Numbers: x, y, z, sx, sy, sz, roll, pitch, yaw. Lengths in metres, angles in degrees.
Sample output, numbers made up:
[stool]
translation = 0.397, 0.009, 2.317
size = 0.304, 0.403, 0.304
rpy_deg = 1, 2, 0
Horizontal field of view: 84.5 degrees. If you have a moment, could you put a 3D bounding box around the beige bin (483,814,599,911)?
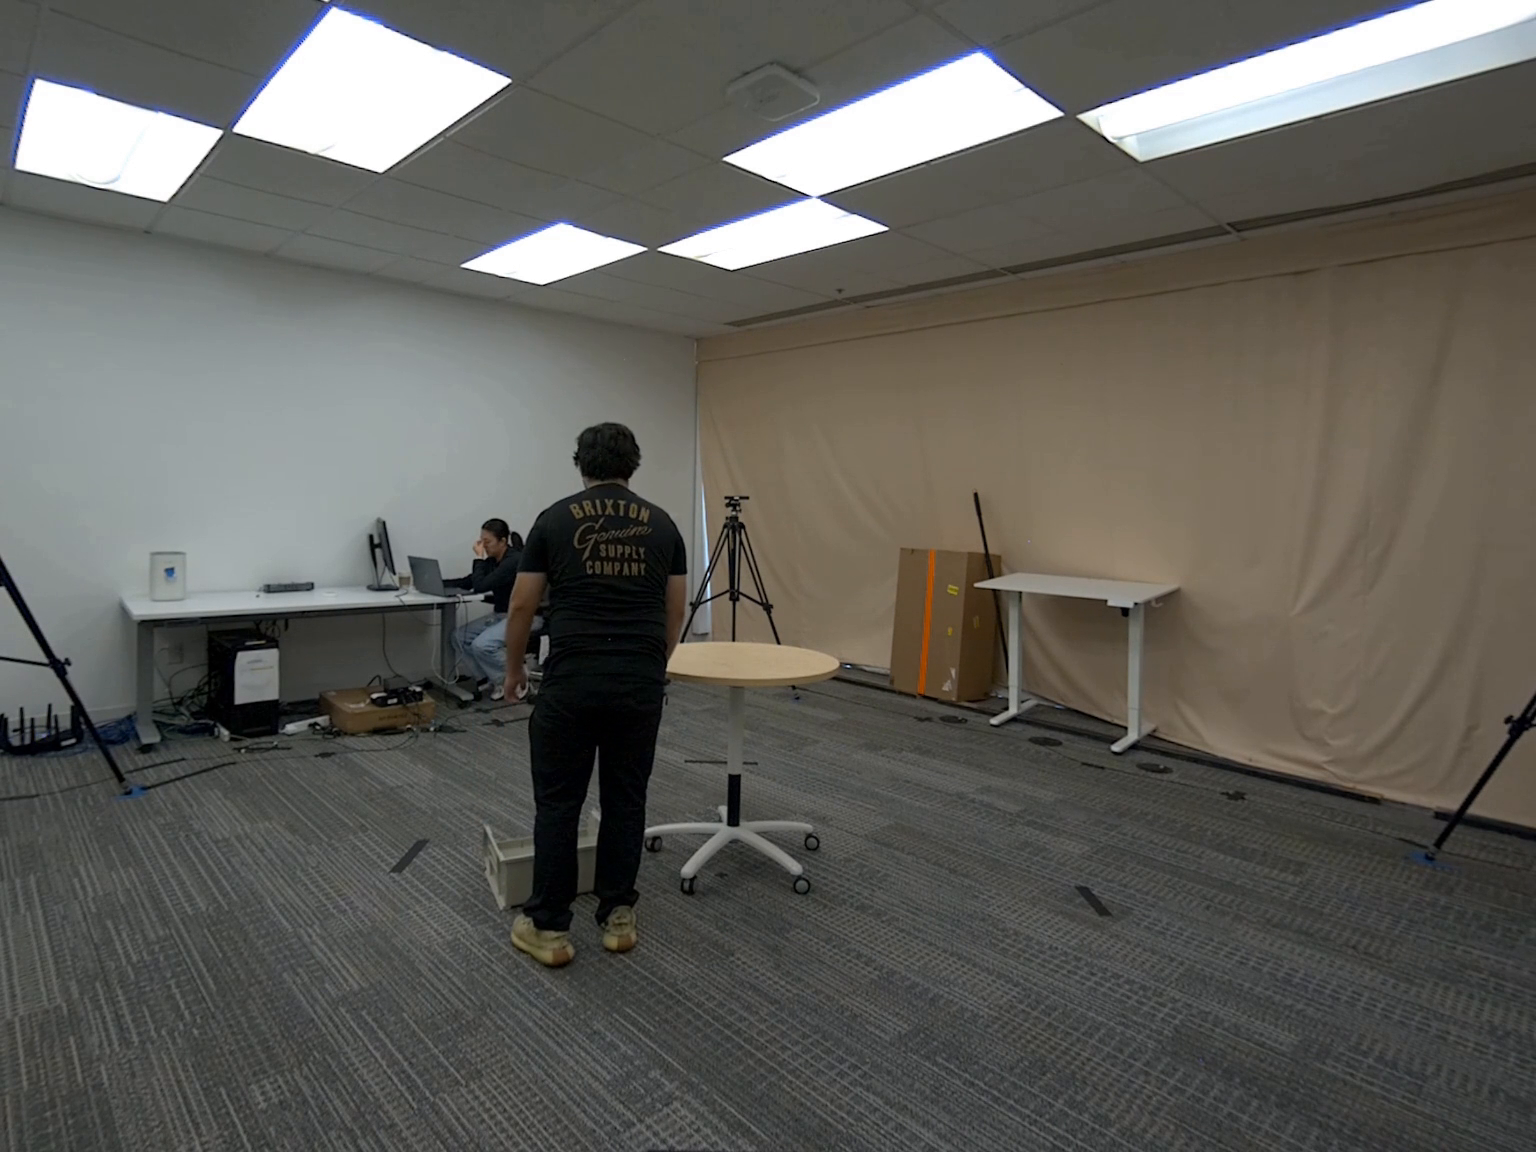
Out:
[beige bin]
translation = -0.796, 1.012, 3.037
size = 0.414, 0.188, 0.386
rpy_deg = 0, 6, -27
